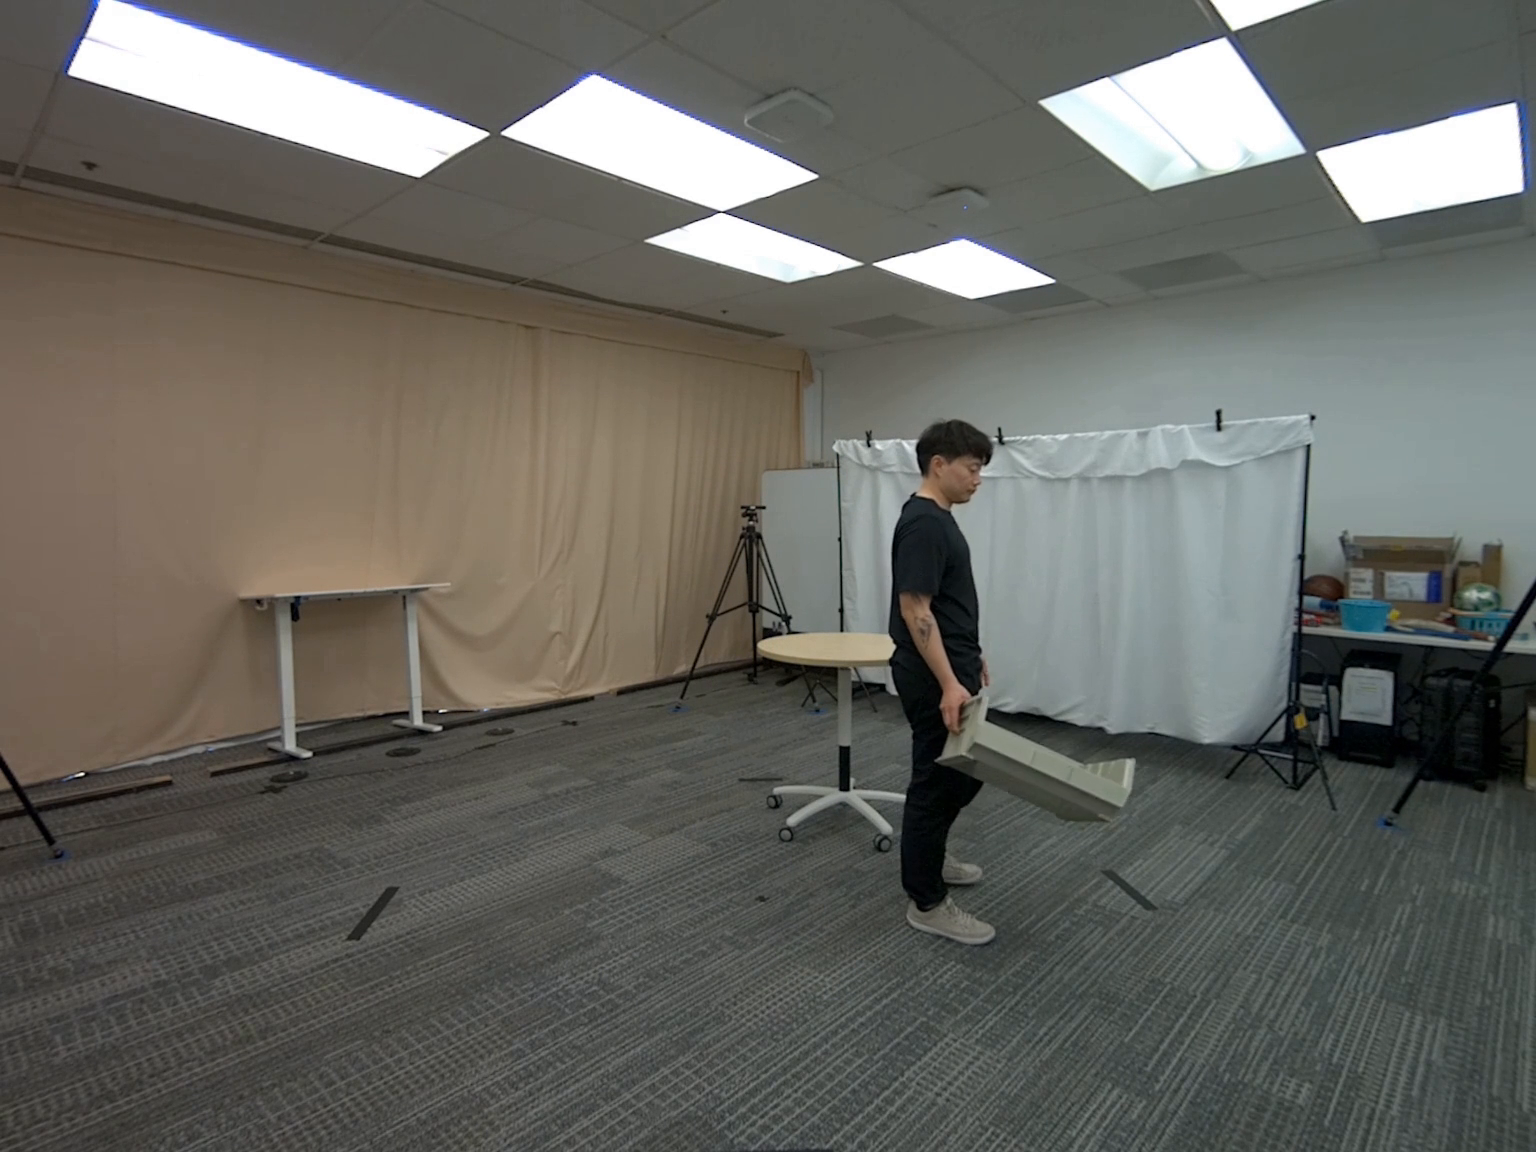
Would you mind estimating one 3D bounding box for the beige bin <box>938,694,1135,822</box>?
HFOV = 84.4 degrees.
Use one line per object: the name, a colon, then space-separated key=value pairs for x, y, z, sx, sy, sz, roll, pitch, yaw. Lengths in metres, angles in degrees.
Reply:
beige bin: x=0.739 y=0.517 z=2.381 sx=0.426 sy=0.189 sz=0.373 roll=24 pitch=-16 yaw=6
